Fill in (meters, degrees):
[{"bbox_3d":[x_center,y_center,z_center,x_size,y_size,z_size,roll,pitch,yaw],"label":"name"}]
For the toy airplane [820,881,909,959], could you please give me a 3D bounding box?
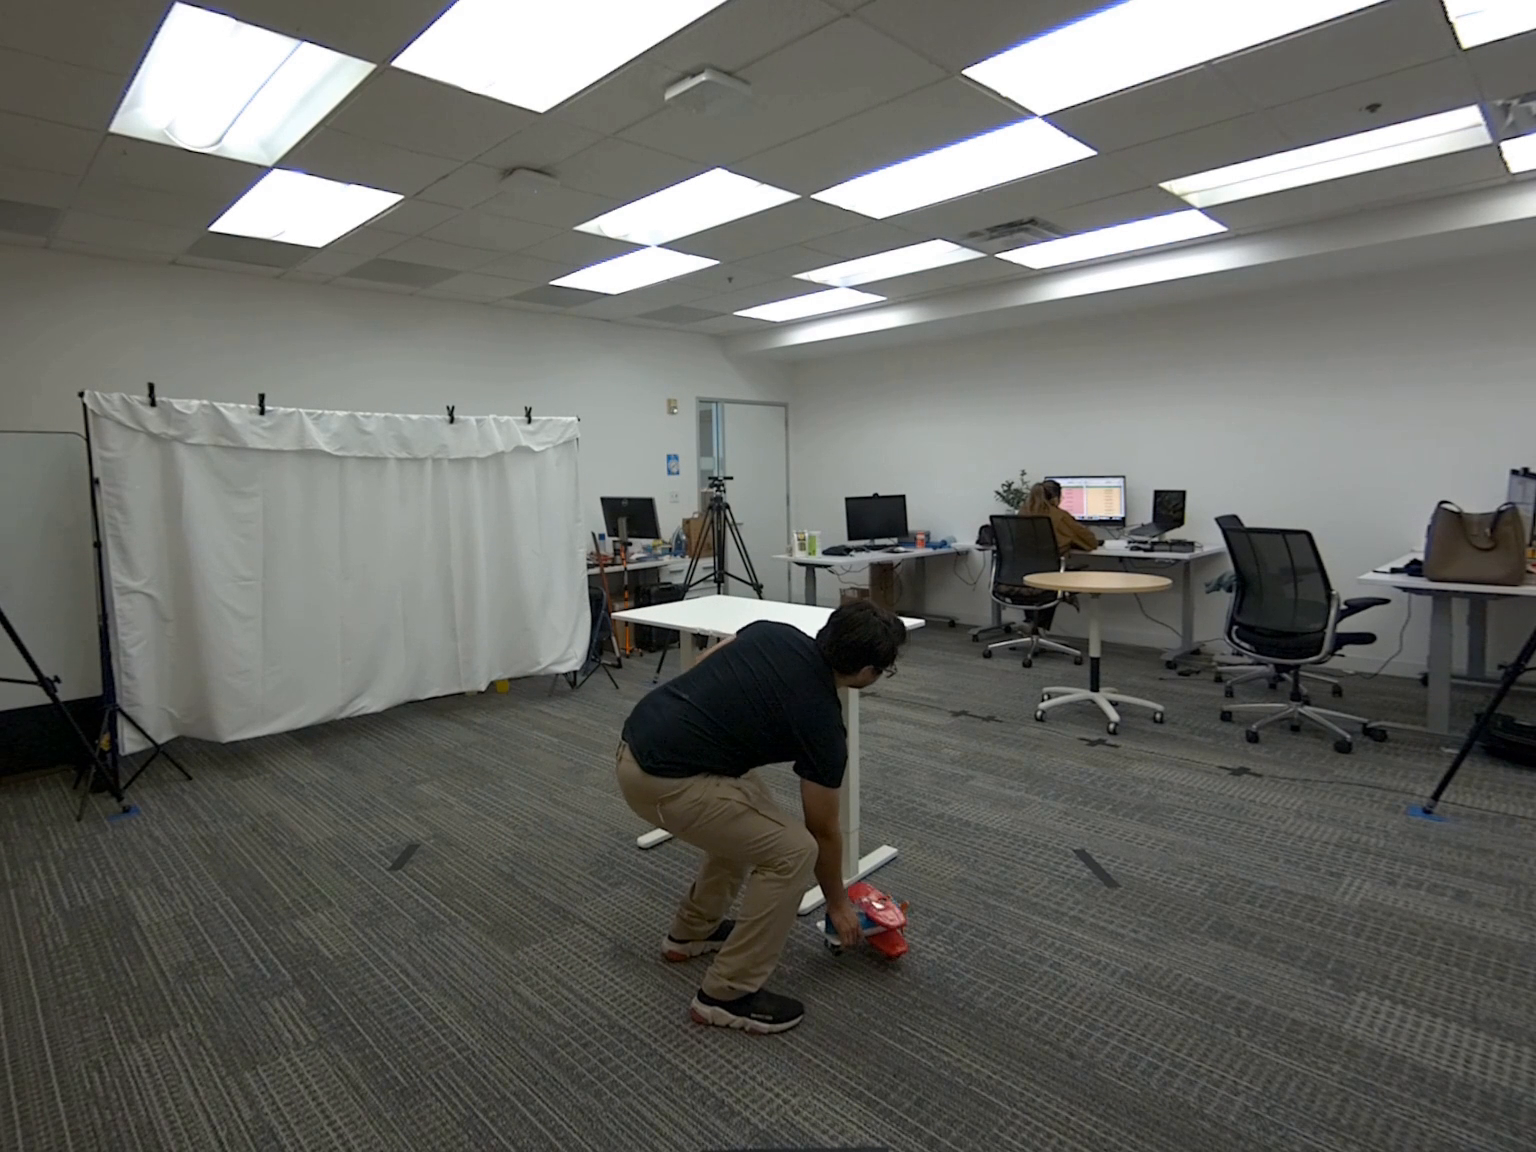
[{"bbox_3d":[0.281,1.015,2.459,0.260,0.156,0.251,13,4,40],"label":"toy airplane"}]
